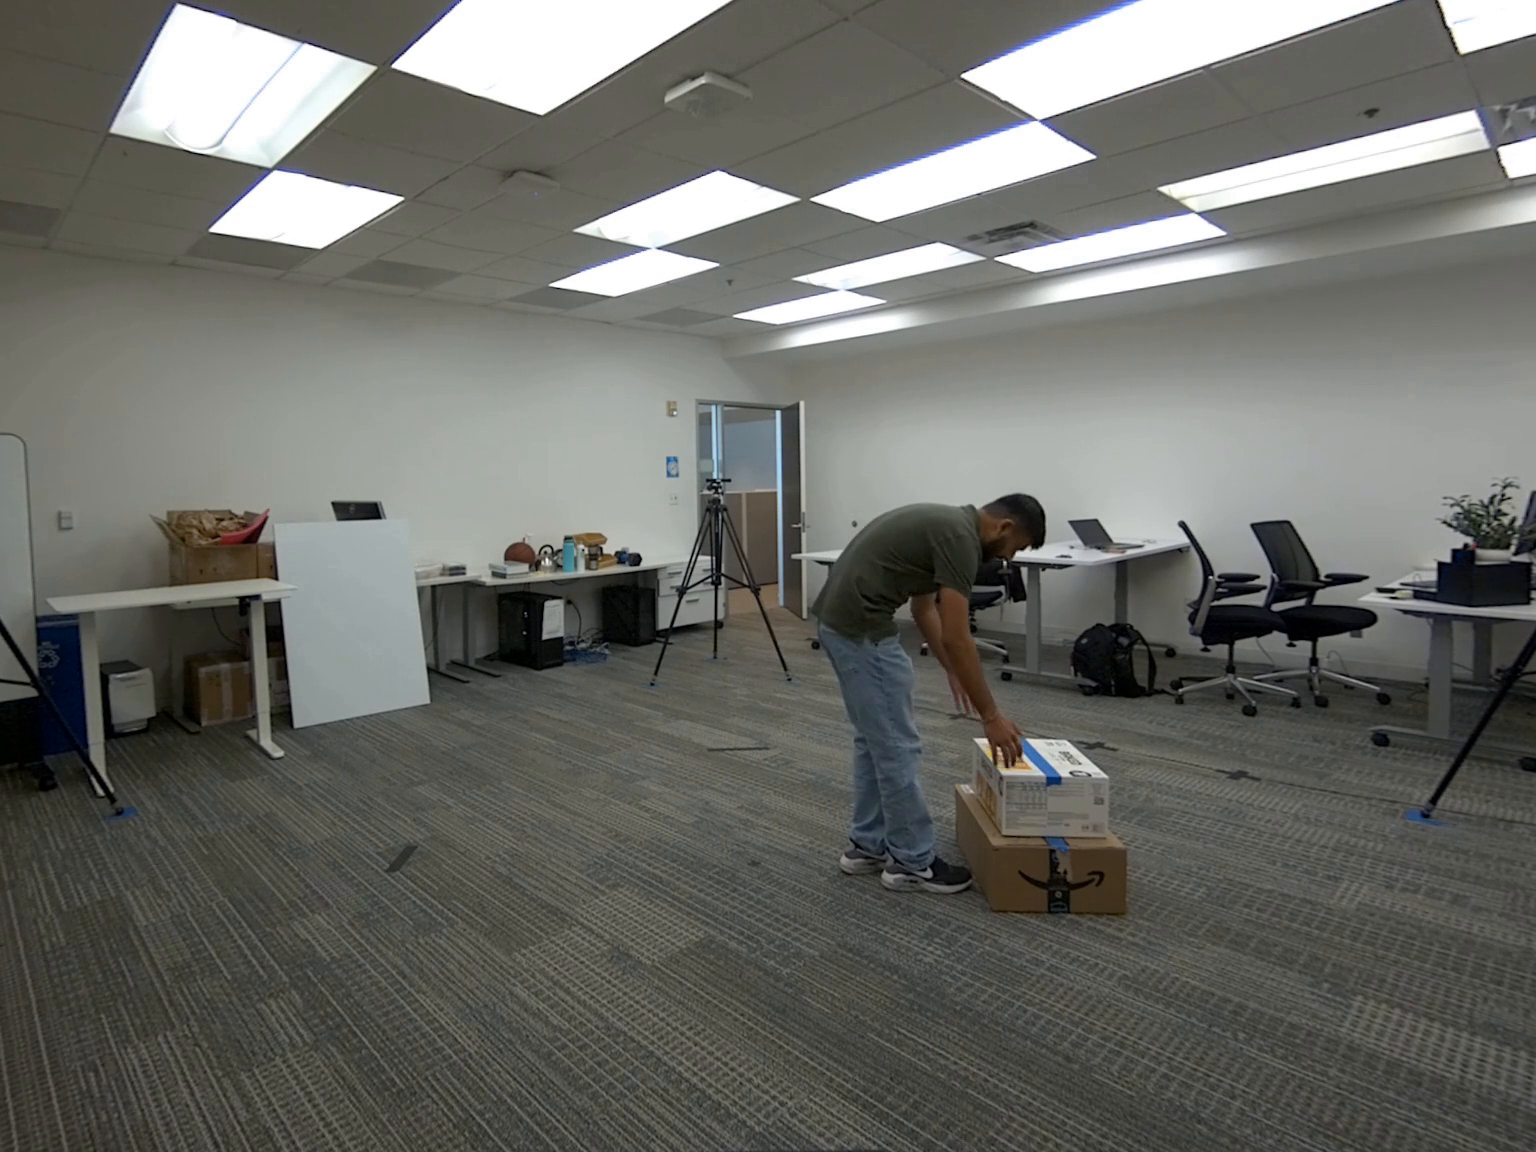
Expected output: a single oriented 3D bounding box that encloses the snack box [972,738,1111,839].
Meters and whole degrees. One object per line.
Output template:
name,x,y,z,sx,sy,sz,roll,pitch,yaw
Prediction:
snack box,0.928,0.723,2.963,0.341,0.205,0.406,0,6,1
